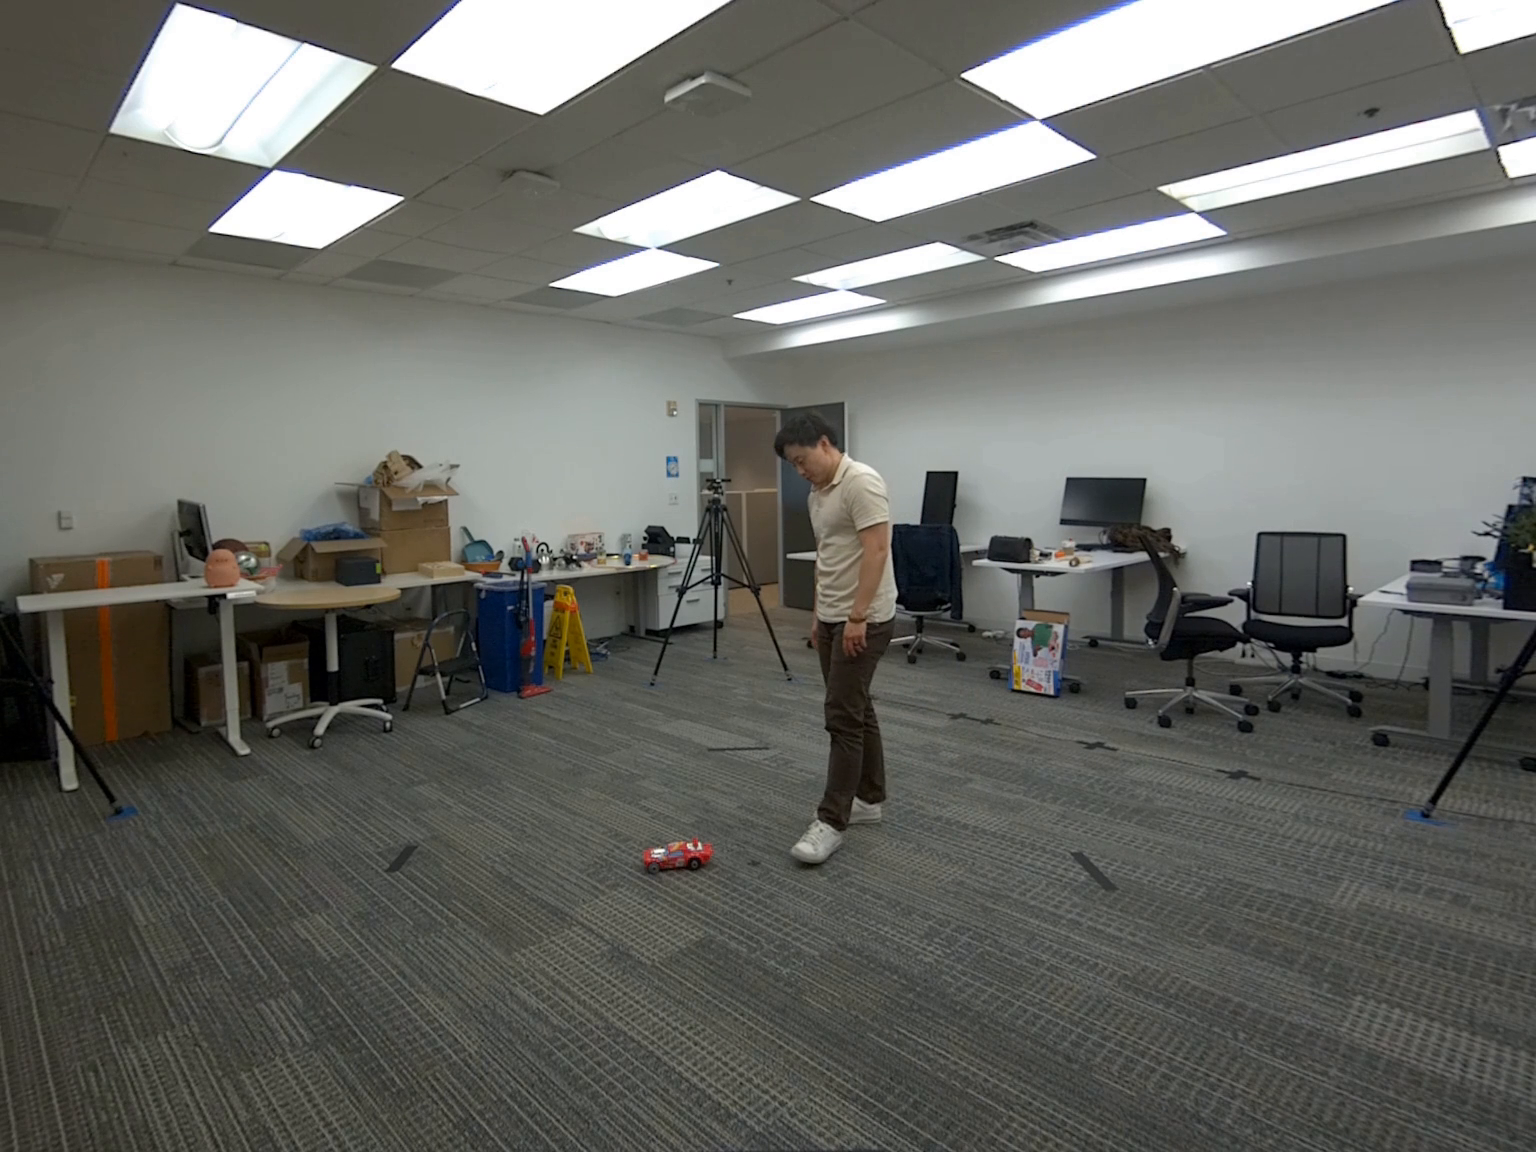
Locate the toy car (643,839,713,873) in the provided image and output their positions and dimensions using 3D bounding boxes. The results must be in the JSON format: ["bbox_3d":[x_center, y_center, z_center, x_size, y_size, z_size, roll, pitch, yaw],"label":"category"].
[{"bbox_3d":[-0.325,1.016,3.097,0.253,0.083,0.132,-12,6,-6],"label":"toy car"}]
